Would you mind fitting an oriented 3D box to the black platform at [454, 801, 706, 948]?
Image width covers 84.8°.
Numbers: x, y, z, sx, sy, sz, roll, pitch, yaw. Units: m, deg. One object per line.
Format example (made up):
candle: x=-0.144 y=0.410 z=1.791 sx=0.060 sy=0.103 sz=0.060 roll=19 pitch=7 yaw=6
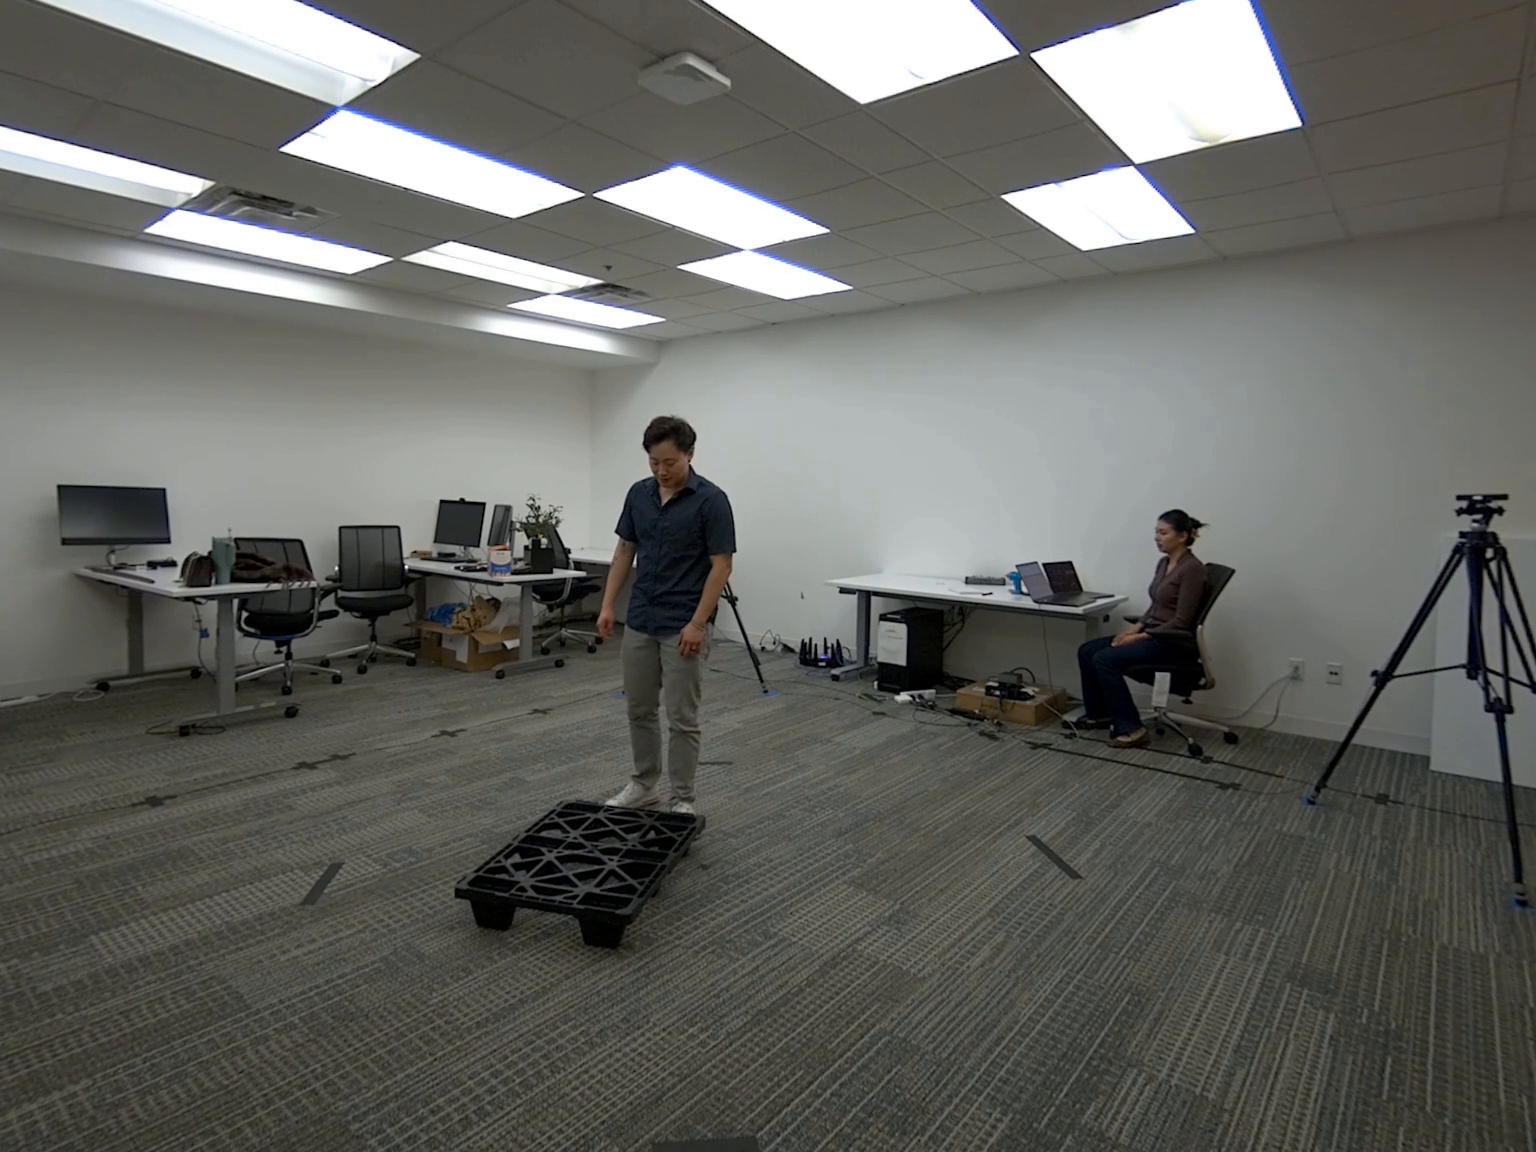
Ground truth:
black platform: x=-0.623 y=1.006 z=2.955 sx=0.615 sy=0.143 sz=0.796 roll=1 pitch=5 yaw=13
